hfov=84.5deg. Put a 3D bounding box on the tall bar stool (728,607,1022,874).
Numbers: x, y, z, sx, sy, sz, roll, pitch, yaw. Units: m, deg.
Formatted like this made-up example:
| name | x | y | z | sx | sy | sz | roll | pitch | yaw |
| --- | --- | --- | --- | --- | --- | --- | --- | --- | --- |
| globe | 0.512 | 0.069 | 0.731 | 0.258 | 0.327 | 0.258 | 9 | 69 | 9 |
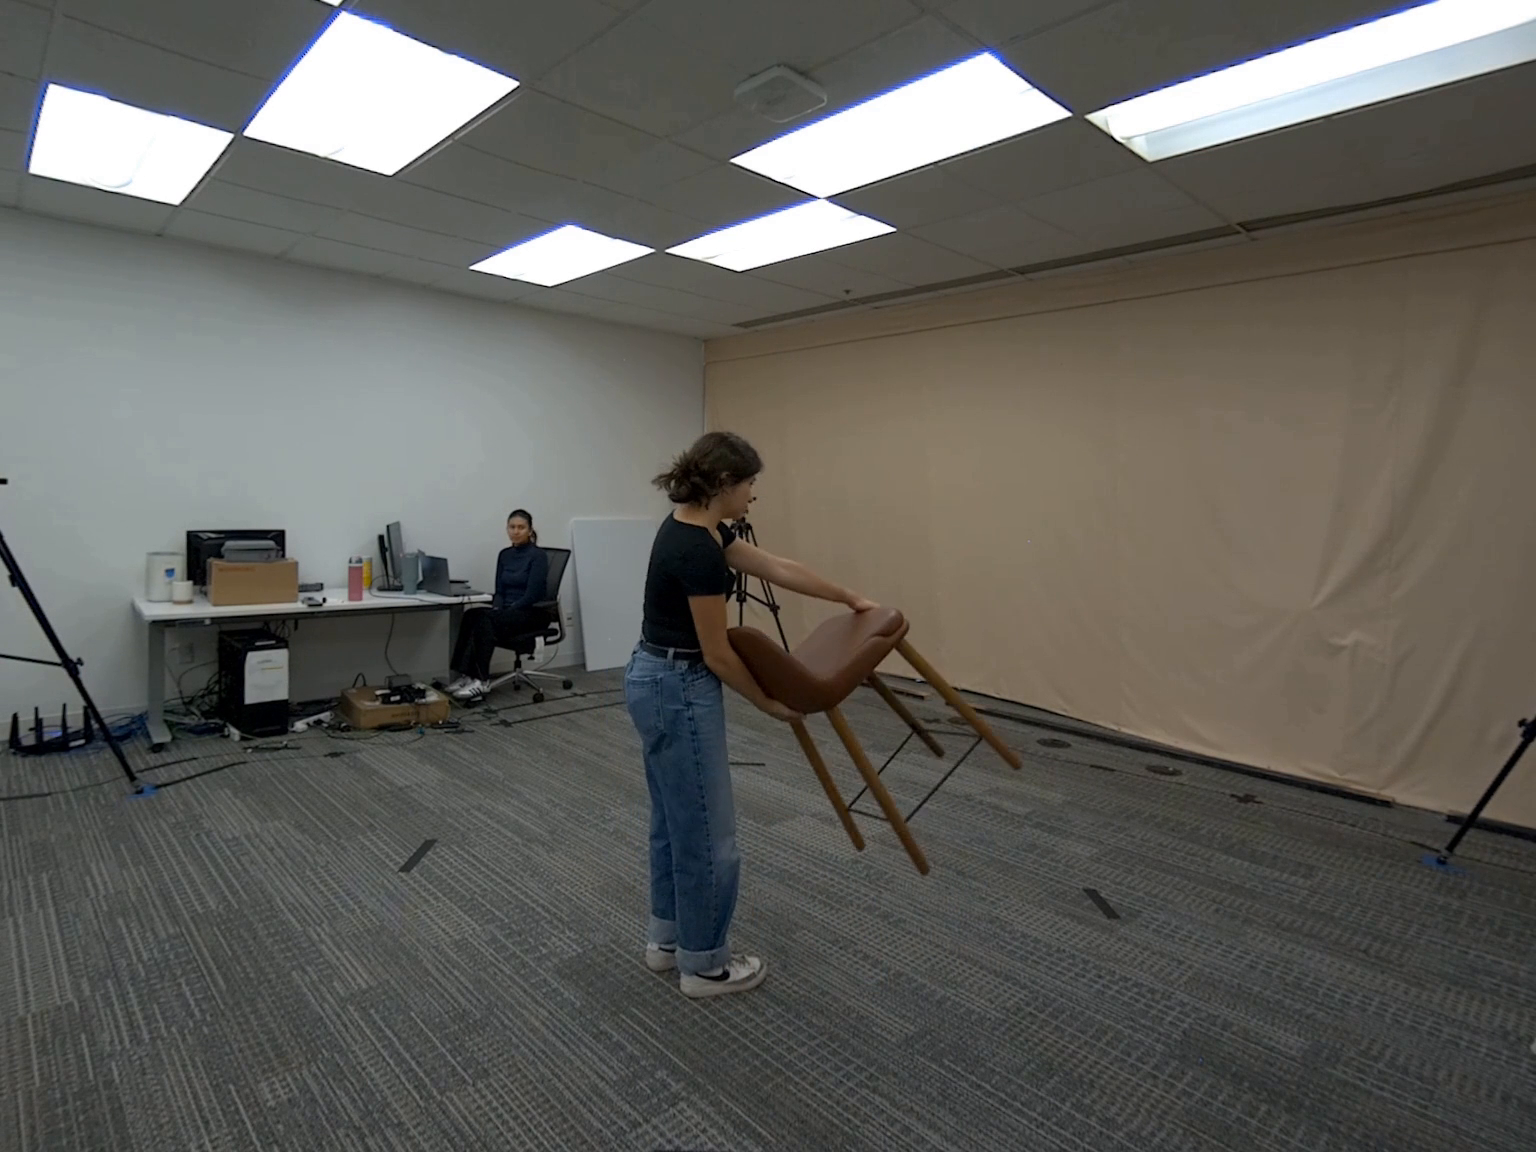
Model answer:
| name | x | y | z | sx | sy | sz | roll | pitch | yaw |
| --- | --- | --- | --- | --- | --- | --- | --- | --- | --- |
| tall bar stool | 0.243 | 0.381 | 2.507 | 0.466 | 0.882 | 0.461 | -41 | 8 | -22 |
